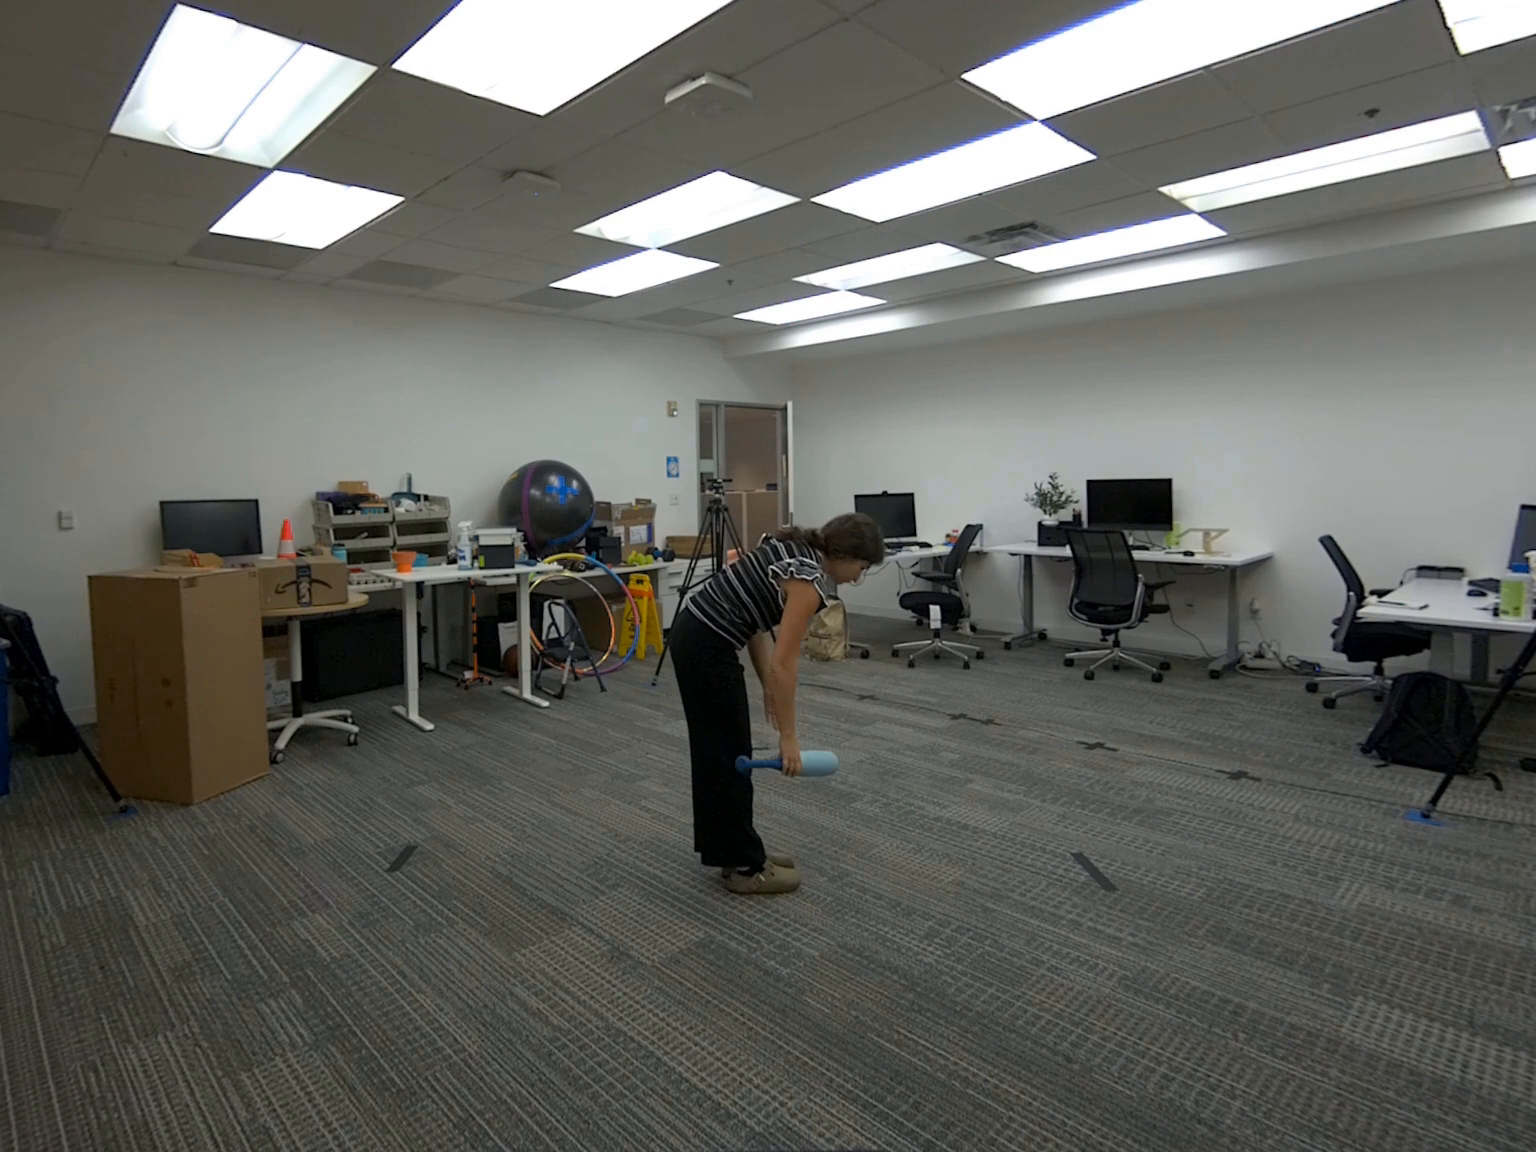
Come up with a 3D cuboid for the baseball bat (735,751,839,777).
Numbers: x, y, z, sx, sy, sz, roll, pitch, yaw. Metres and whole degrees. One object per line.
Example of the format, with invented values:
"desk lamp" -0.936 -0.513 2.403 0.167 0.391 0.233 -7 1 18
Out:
"baseball bat" 0.064 0.617 2.821 0.091 0.089 0.524 3 -9 36
